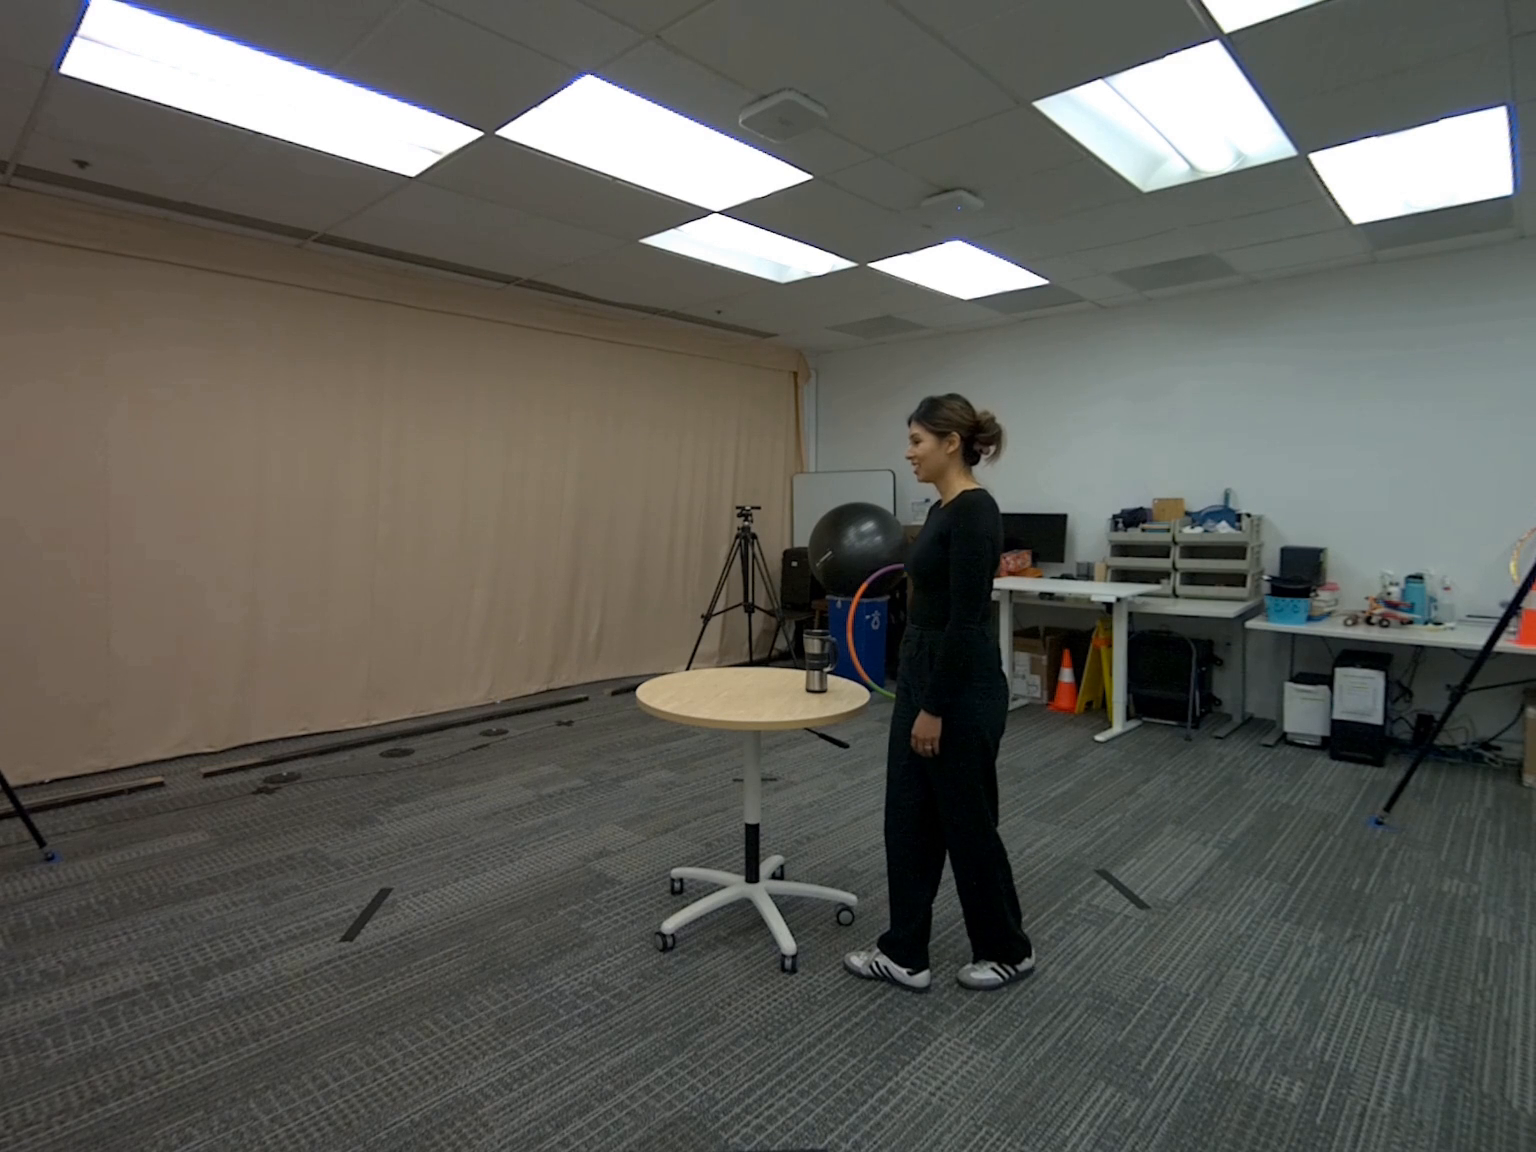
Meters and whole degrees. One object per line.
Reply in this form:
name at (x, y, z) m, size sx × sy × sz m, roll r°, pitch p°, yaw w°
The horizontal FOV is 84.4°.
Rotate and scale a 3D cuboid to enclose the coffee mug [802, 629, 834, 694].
coffee mug at (0.177, 0.282, 2.738) m, size 0.085 × 0.203 × 0.125 m, roll 2°, pitch -1°, yaw -30°
